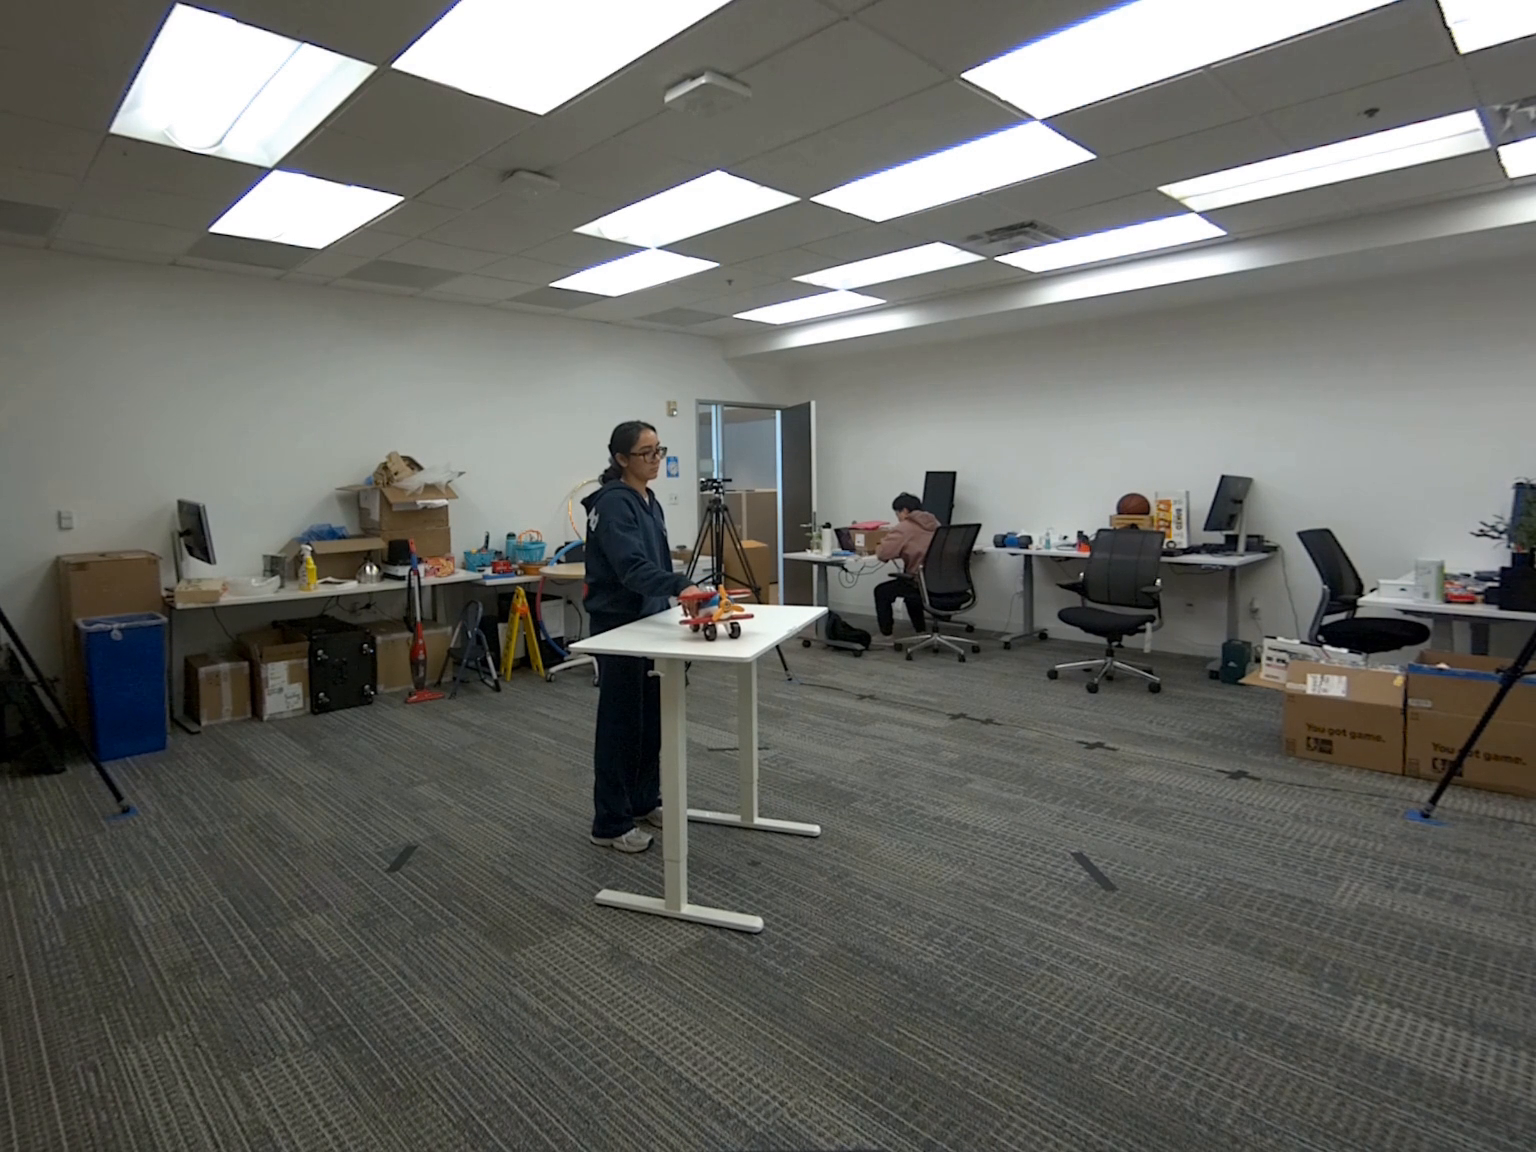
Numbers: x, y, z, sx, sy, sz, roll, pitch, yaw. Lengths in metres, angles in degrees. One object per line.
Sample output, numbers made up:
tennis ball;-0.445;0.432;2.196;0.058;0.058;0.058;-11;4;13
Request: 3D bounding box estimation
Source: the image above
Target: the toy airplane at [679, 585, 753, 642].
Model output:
toy airplane;-0.198;0.123;2.805;0.267;0.156;0.245;4;6;36
